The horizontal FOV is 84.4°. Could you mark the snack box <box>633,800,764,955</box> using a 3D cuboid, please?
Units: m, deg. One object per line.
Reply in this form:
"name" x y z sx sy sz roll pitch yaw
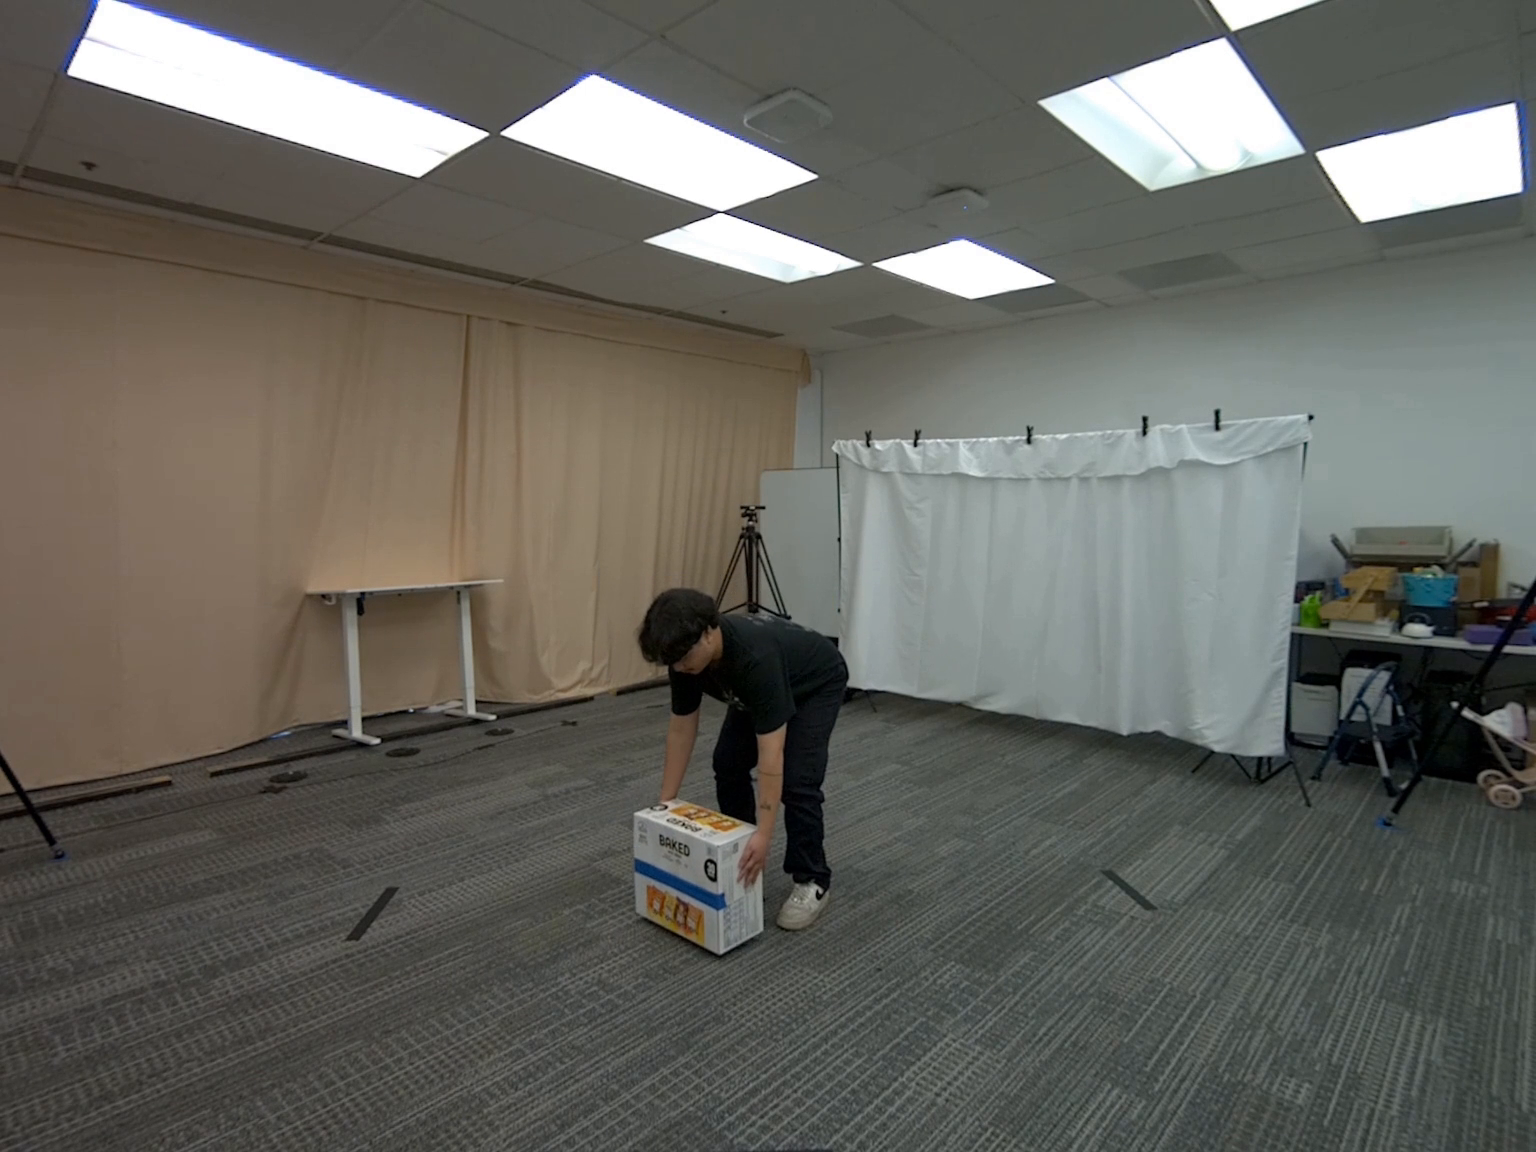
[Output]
"snack box" -0.228 0.957 2.752 0.418 0.339 0.199 2 5 43
